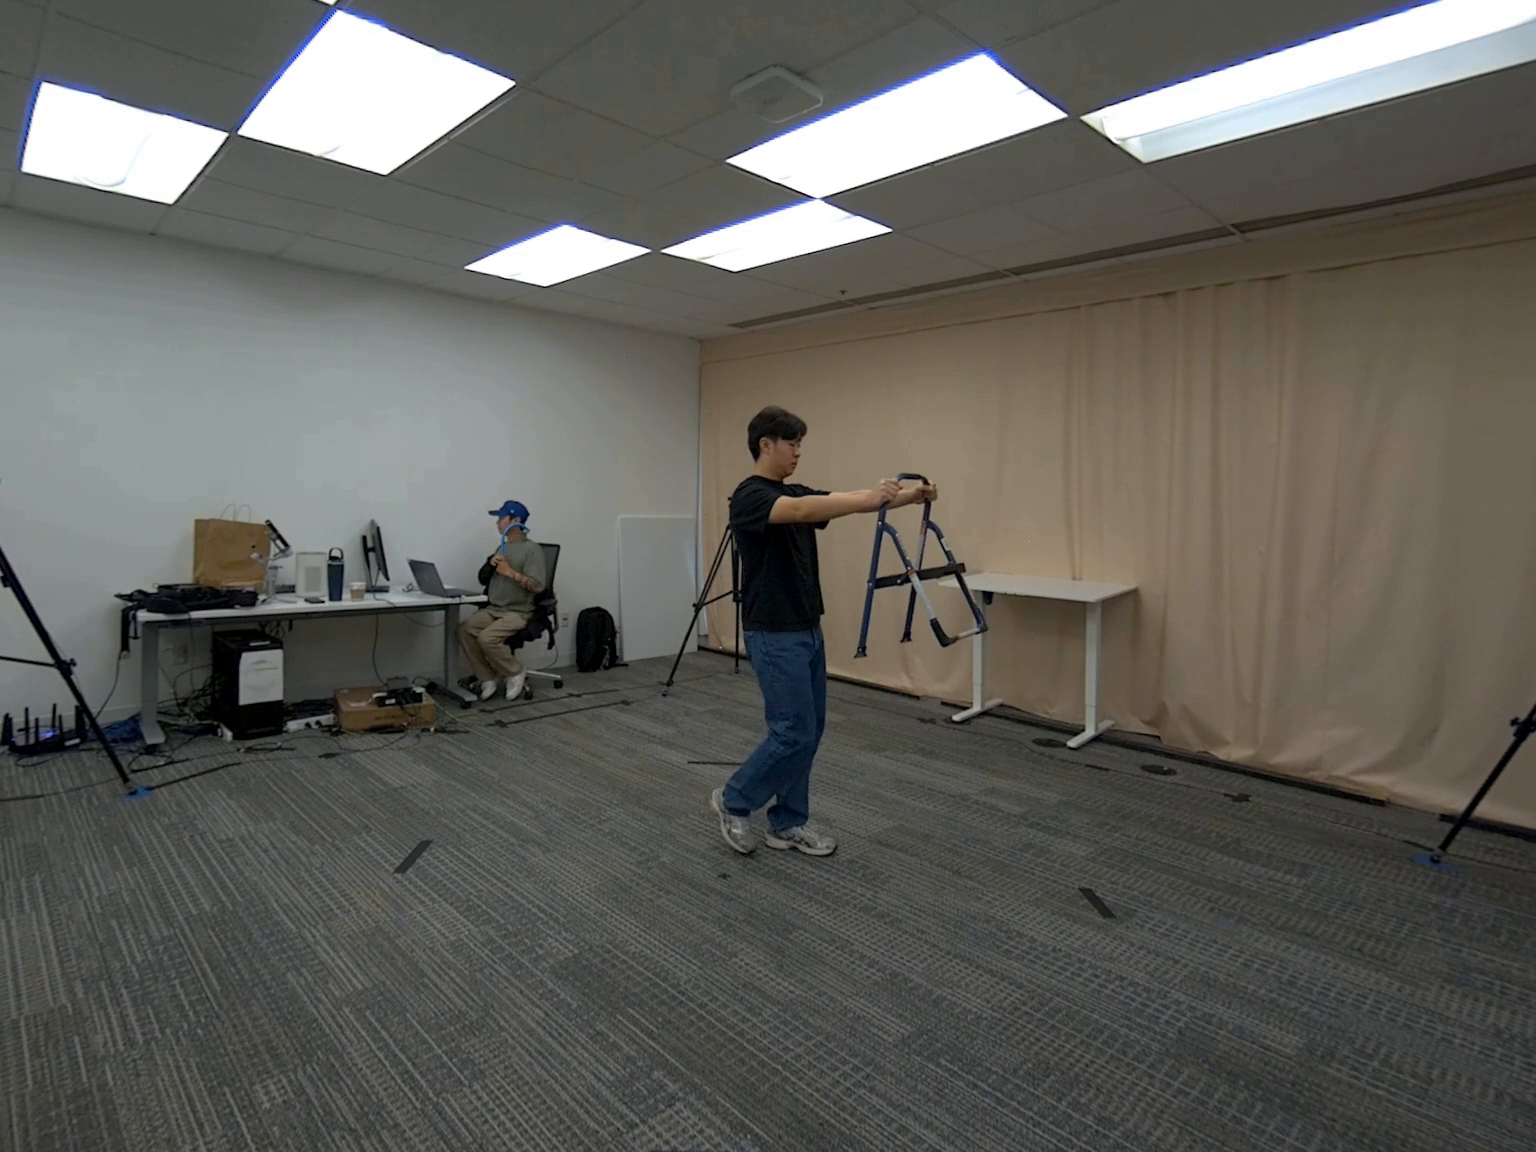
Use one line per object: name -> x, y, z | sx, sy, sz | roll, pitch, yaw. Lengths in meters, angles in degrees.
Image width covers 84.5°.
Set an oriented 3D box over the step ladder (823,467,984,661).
step ladder -> 0.489, -0.048, 3.018 | 0.355, 0.607, 0.422 | -10, -3, 30
